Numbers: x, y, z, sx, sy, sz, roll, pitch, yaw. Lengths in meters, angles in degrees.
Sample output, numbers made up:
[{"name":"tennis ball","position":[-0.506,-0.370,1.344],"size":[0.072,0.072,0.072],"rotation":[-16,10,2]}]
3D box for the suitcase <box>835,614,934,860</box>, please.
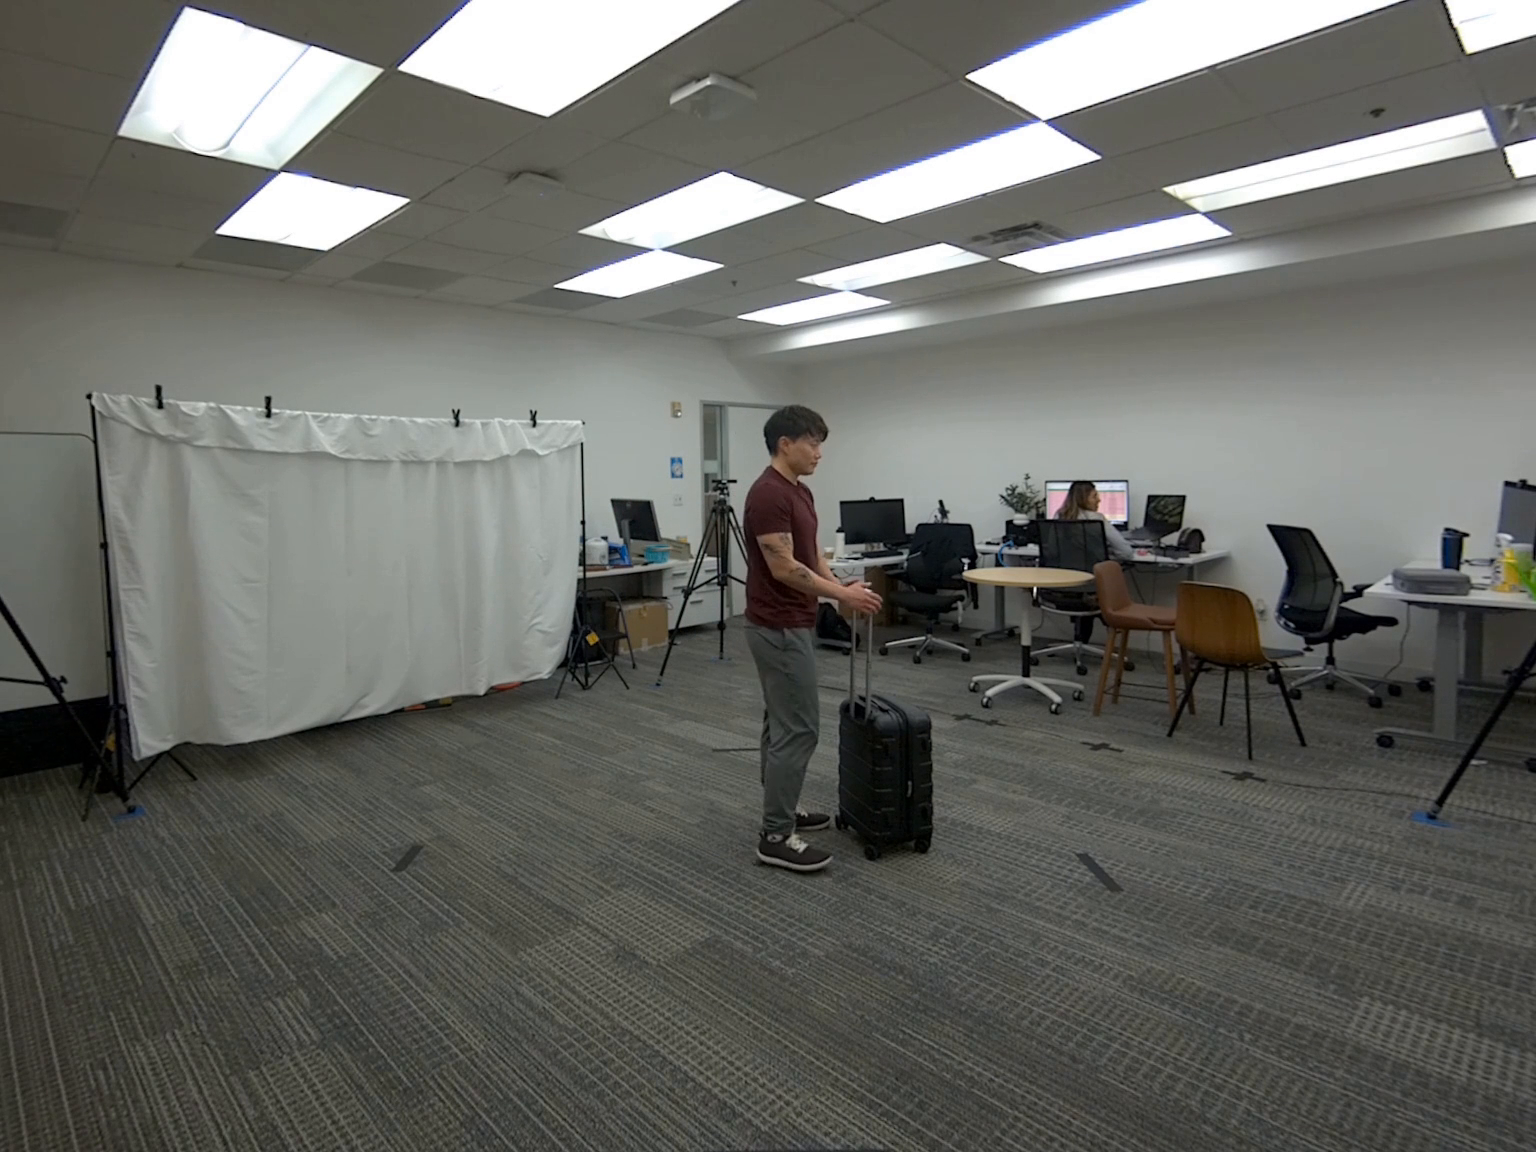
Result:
[{"name":"suitcase","position":[0.446,0.536,3.270],"size":[0.253,0.976,0.391],"rotation":[0,3,-18]}]
